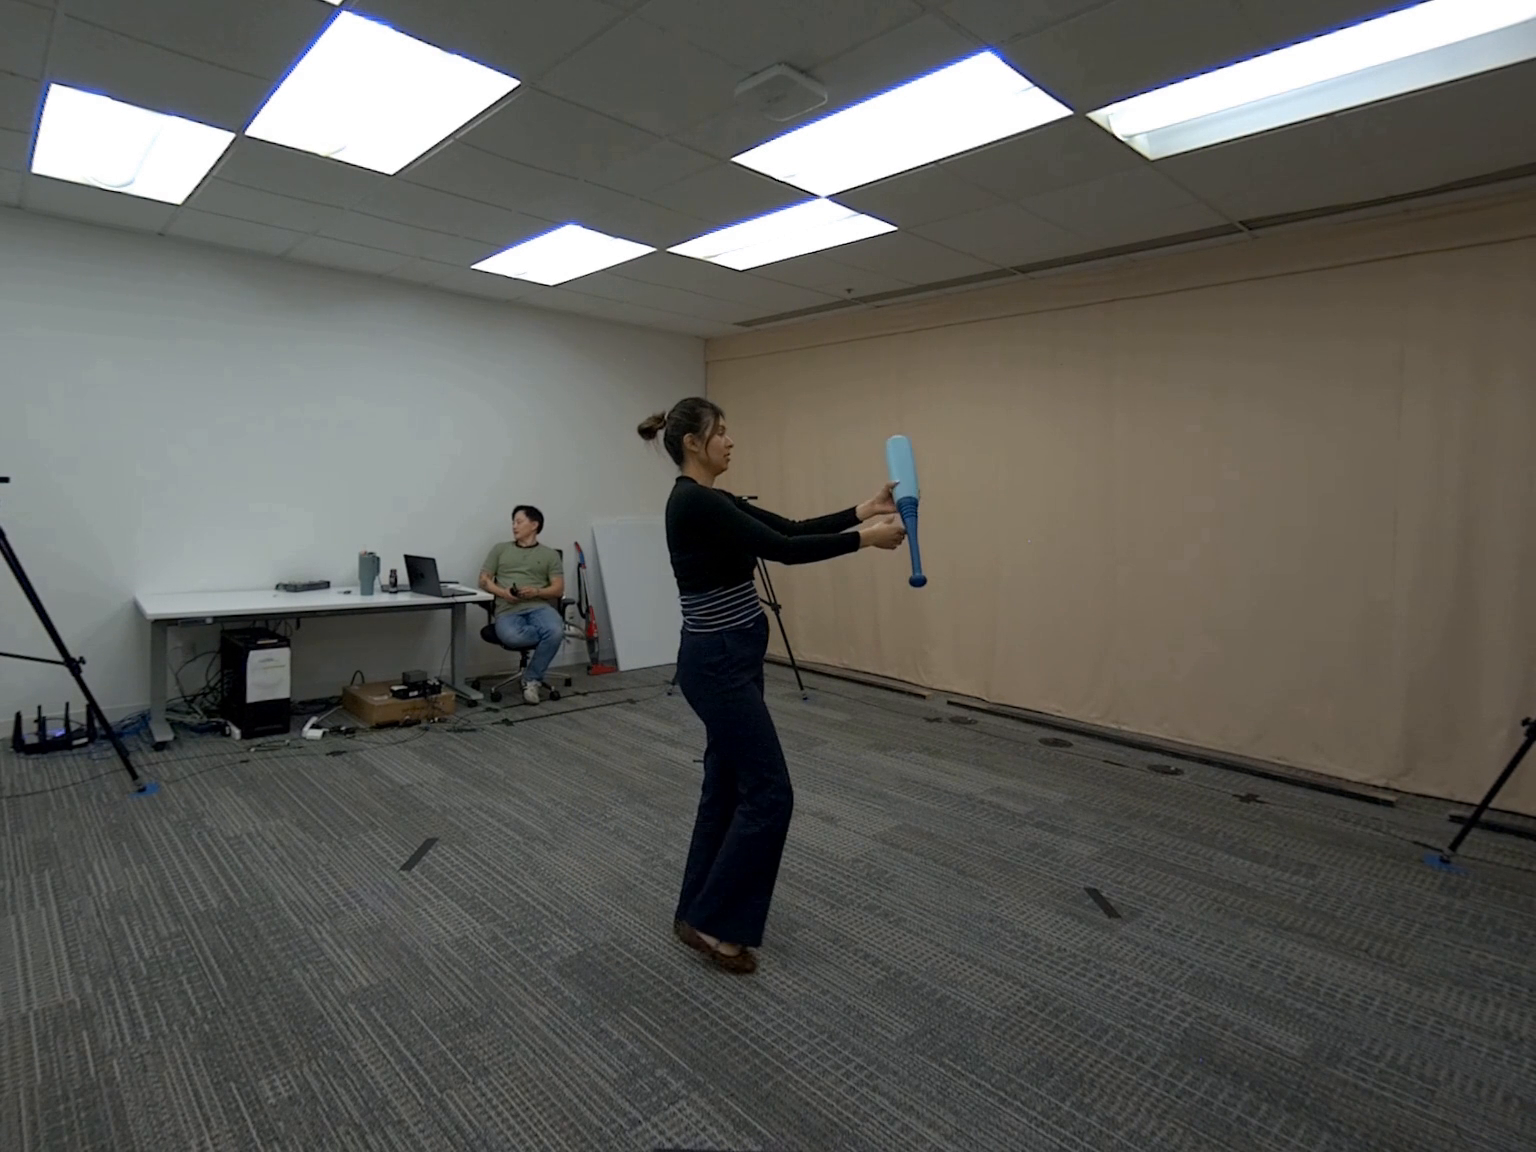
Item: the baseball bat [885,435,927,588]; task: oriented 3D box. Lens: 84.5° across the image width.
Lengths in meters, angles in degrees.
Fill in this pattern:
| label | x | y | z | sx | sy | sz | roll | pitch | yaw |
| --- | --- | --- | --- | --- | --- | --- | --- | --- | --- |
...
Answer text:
| label | x | y | z | sx | sy | sz | roll | pitch | yaw |
| --- | --- | --- | --- | --- | --- | --- | --- | --- | --- |
| baseball bat | 0.415 | -0.202 | 2.529 | 0.089 | 0.555 | 0.087 | -1 | -36 | -2 |
